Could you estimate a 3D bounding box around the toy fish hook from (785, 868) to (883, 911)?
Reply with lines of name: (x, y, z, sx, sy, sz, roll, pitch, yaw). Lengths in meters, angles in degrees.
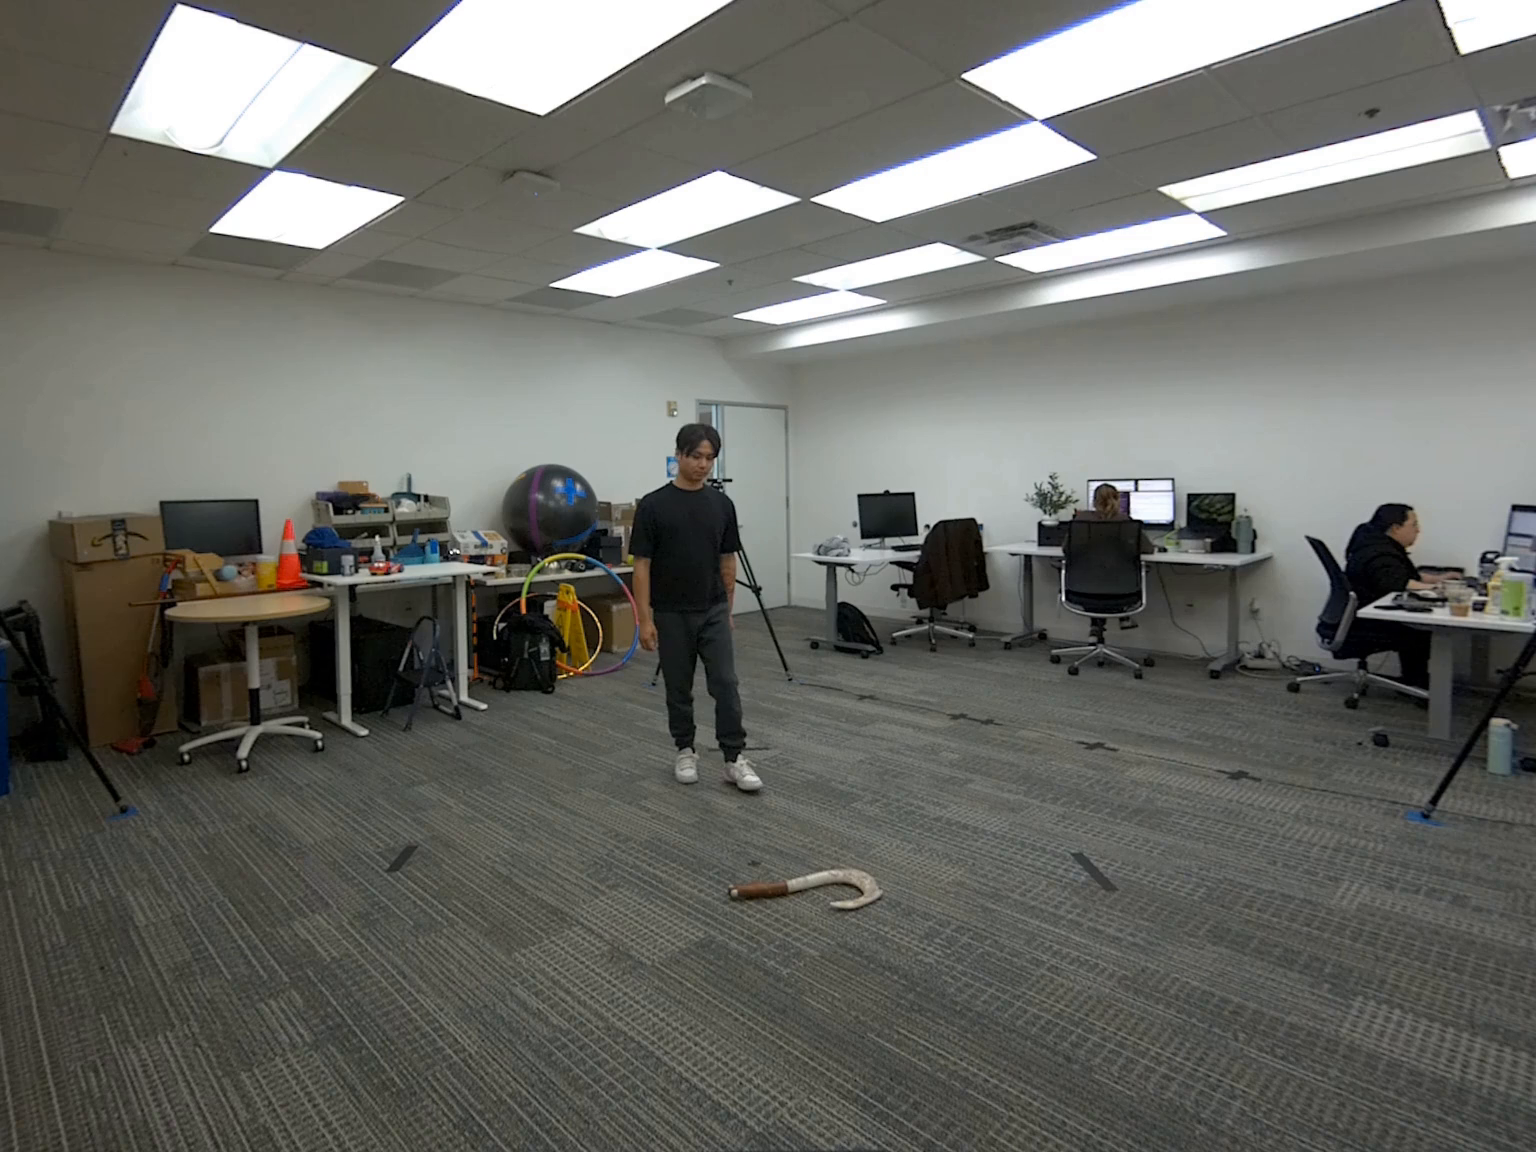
toy fish hook: (0.128, 1.049, 2.835, 0.501, 0.048, 0.228, -3, 5, -11)
